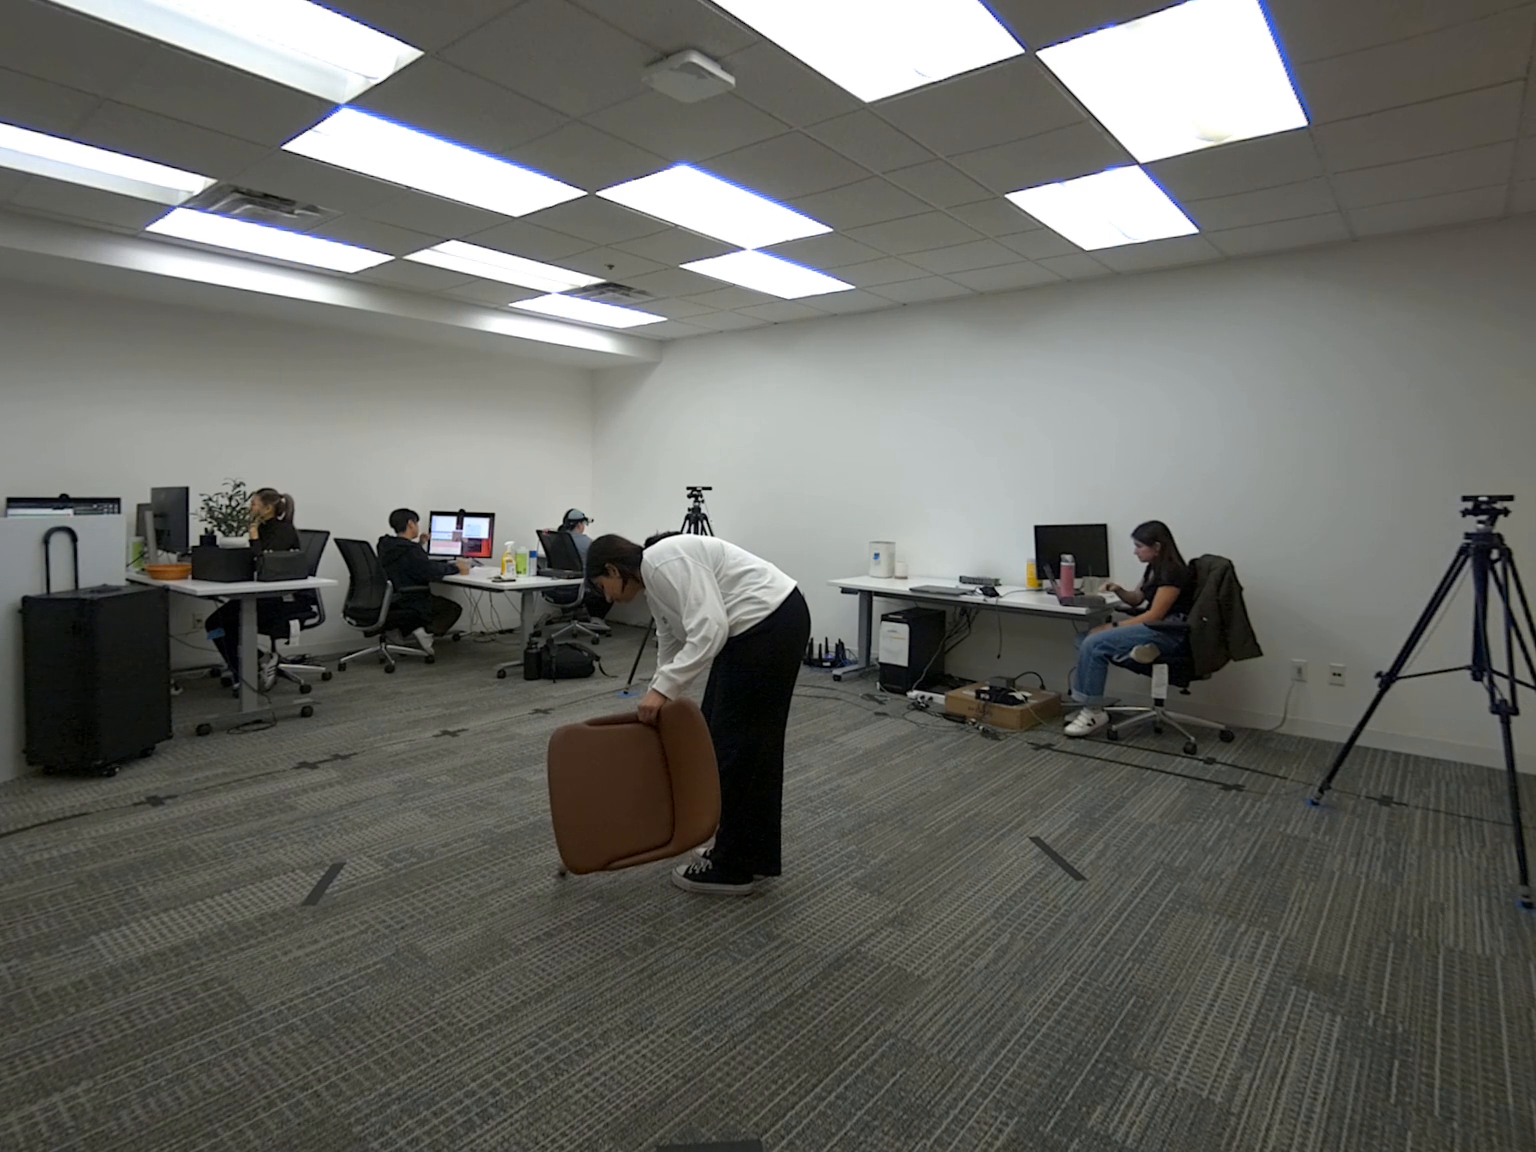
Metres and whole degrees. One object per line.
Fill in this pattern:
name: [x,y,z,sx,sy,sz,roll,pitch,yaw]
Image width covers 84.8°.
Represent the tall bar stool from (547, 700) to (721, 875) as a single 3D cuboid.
tall bar stool: [-0.478,0.696,2.770,0.460,0.466,0.885,-3,-19,-17]
